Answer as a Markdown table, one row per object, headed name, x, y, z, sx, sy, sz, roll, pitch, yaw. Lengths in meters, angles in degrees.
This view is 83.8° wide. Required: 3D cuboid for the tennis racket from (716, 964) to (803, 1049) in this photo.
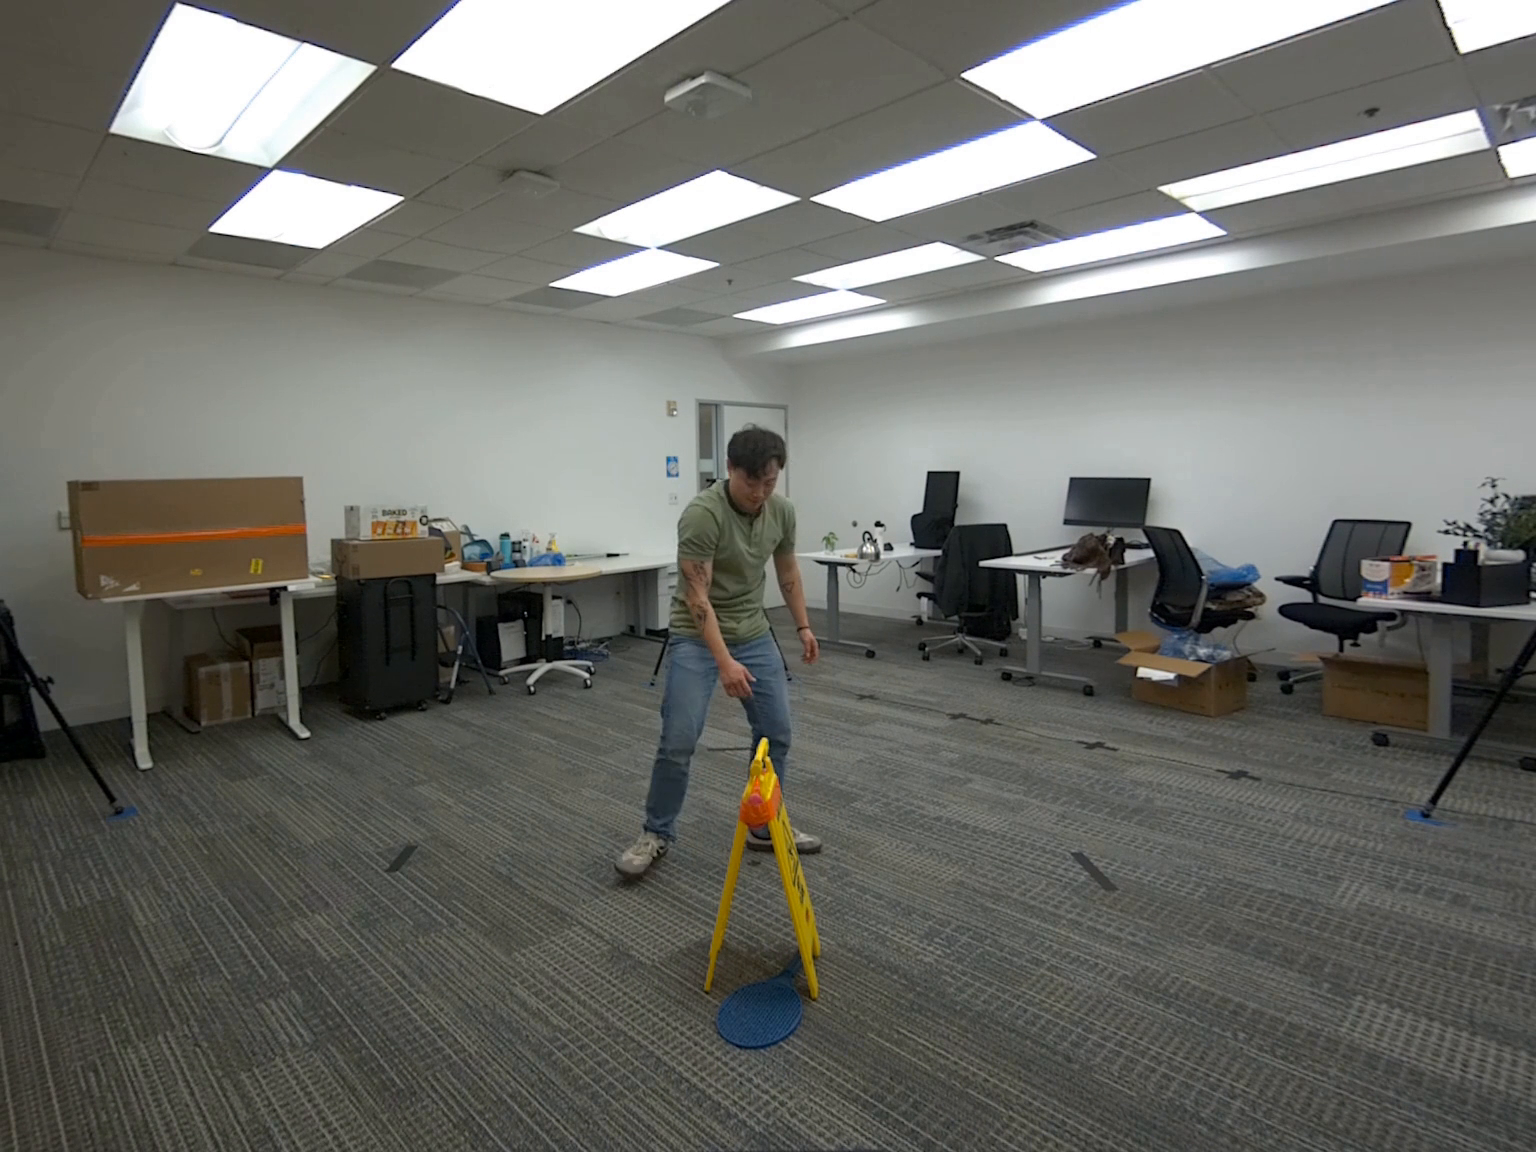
| name | x | y | z | sx | sy | sz | roll | pitch | yaw |
| --- | --- | --- | --- | --- | --- | --- | --- | --- | --- |
| tennis racket | -0.059 | 1.156 | 2.153 | 0.220 | 0.031 | 0.423 | 3 | 10 | 35 |
